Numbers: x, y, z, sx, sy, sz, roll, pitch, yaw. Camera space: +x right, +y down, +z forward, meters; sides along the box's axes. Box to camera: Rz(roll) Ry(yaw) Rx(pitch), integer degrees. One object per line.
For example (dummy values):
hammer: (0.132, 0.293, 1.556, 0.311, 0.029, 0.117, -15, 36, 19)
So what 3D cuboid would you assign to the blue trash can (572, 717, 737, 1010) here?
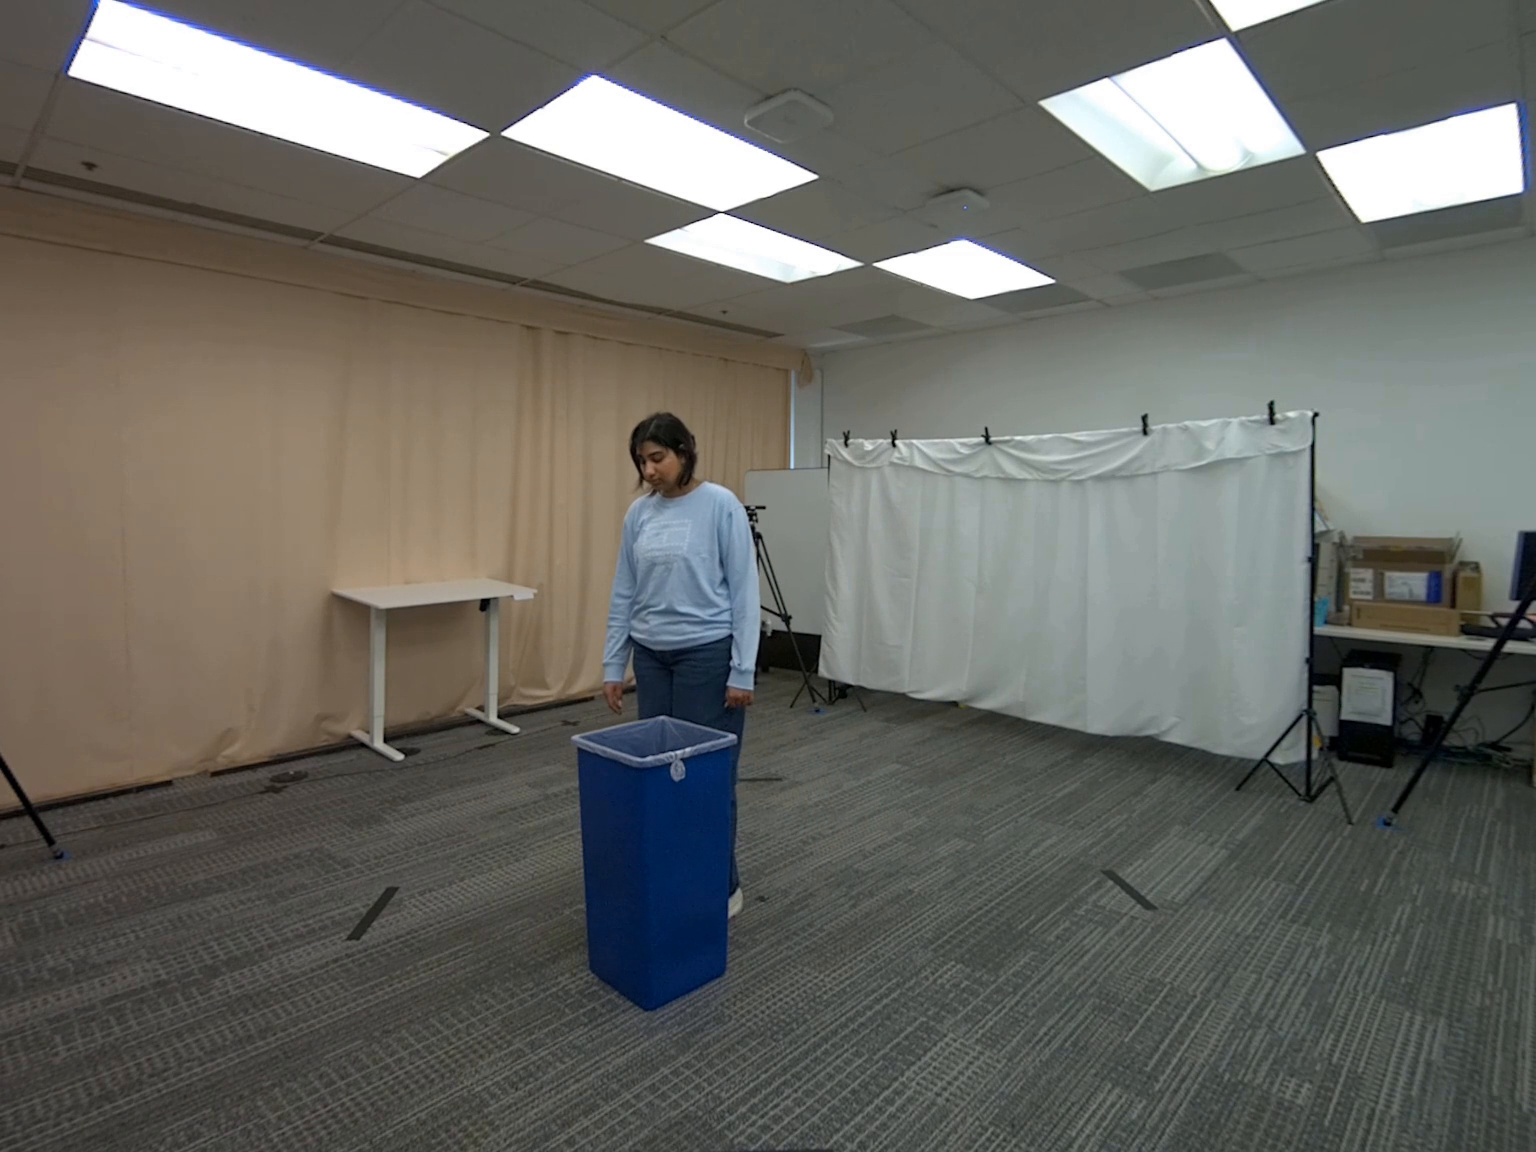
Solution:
blue trash can: (-0.338, 0.827, 2.508, 0.366, 0.712, 0.386, -3, 4, -44)
